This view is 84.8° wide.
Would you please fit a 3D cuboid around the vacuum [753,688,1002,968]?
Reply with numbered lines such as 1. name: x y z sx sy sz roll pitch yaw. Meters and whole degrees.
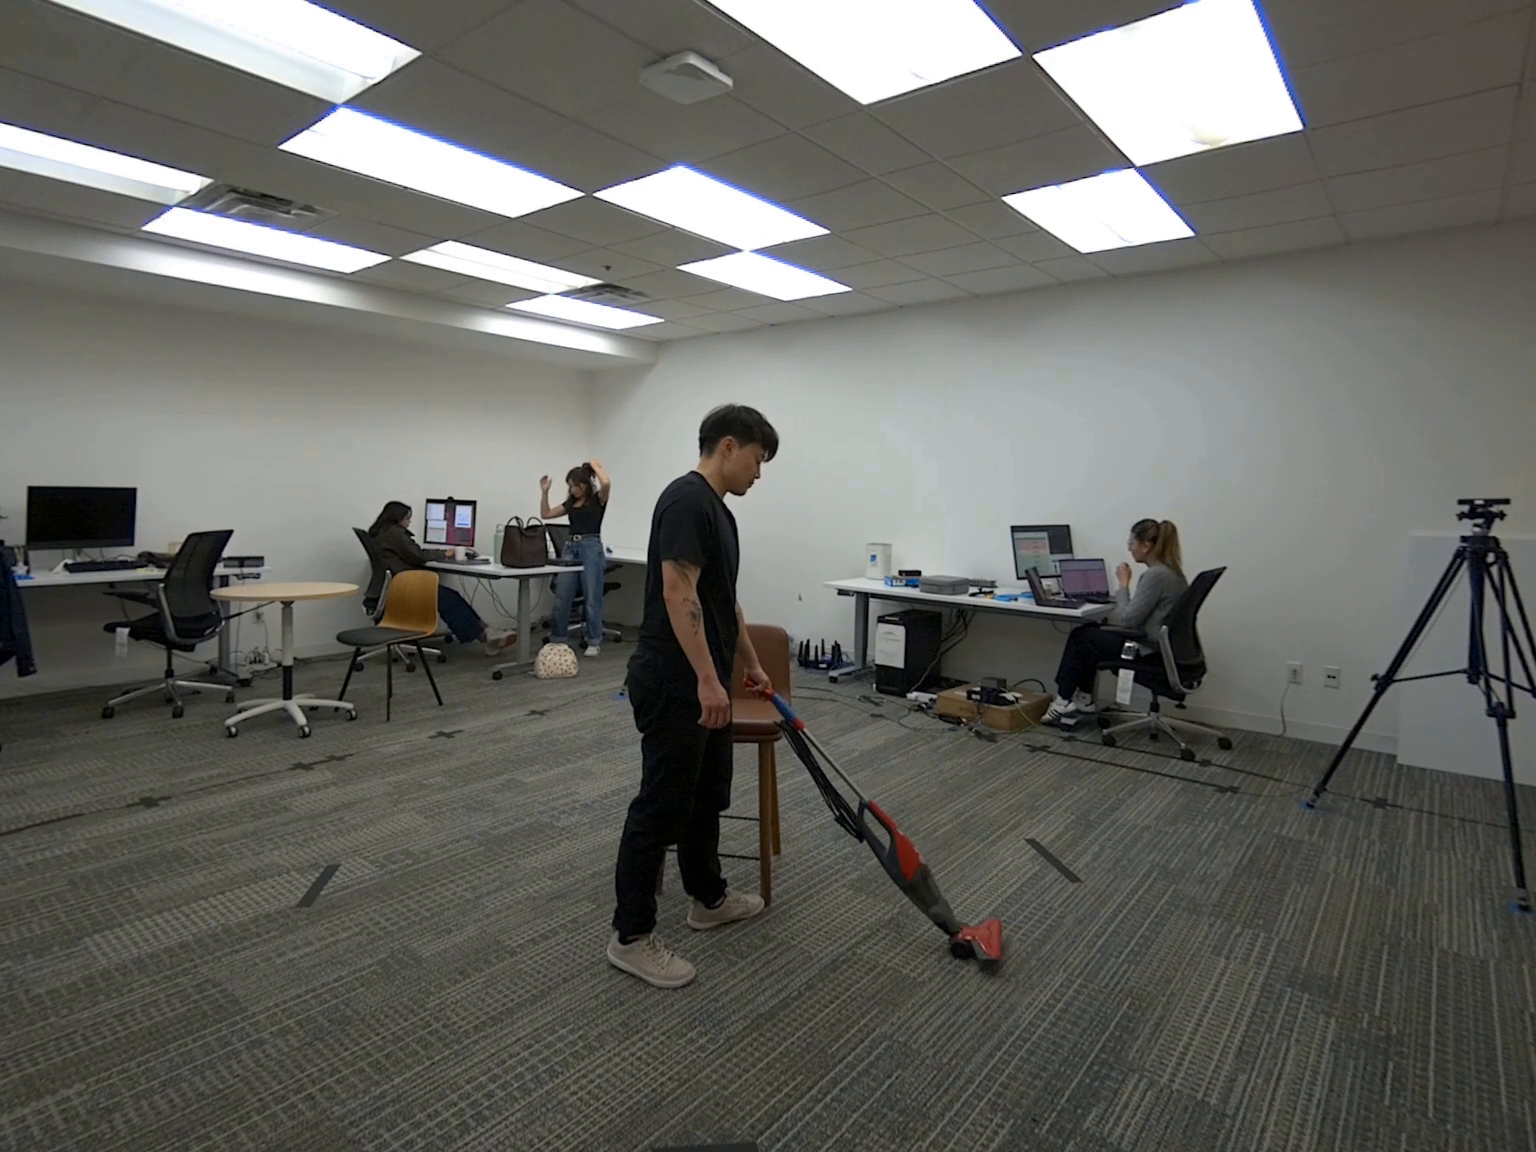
1. vacuum: 0.280 0.746 2.699 1.068 0.144 0.248 46 14 12
